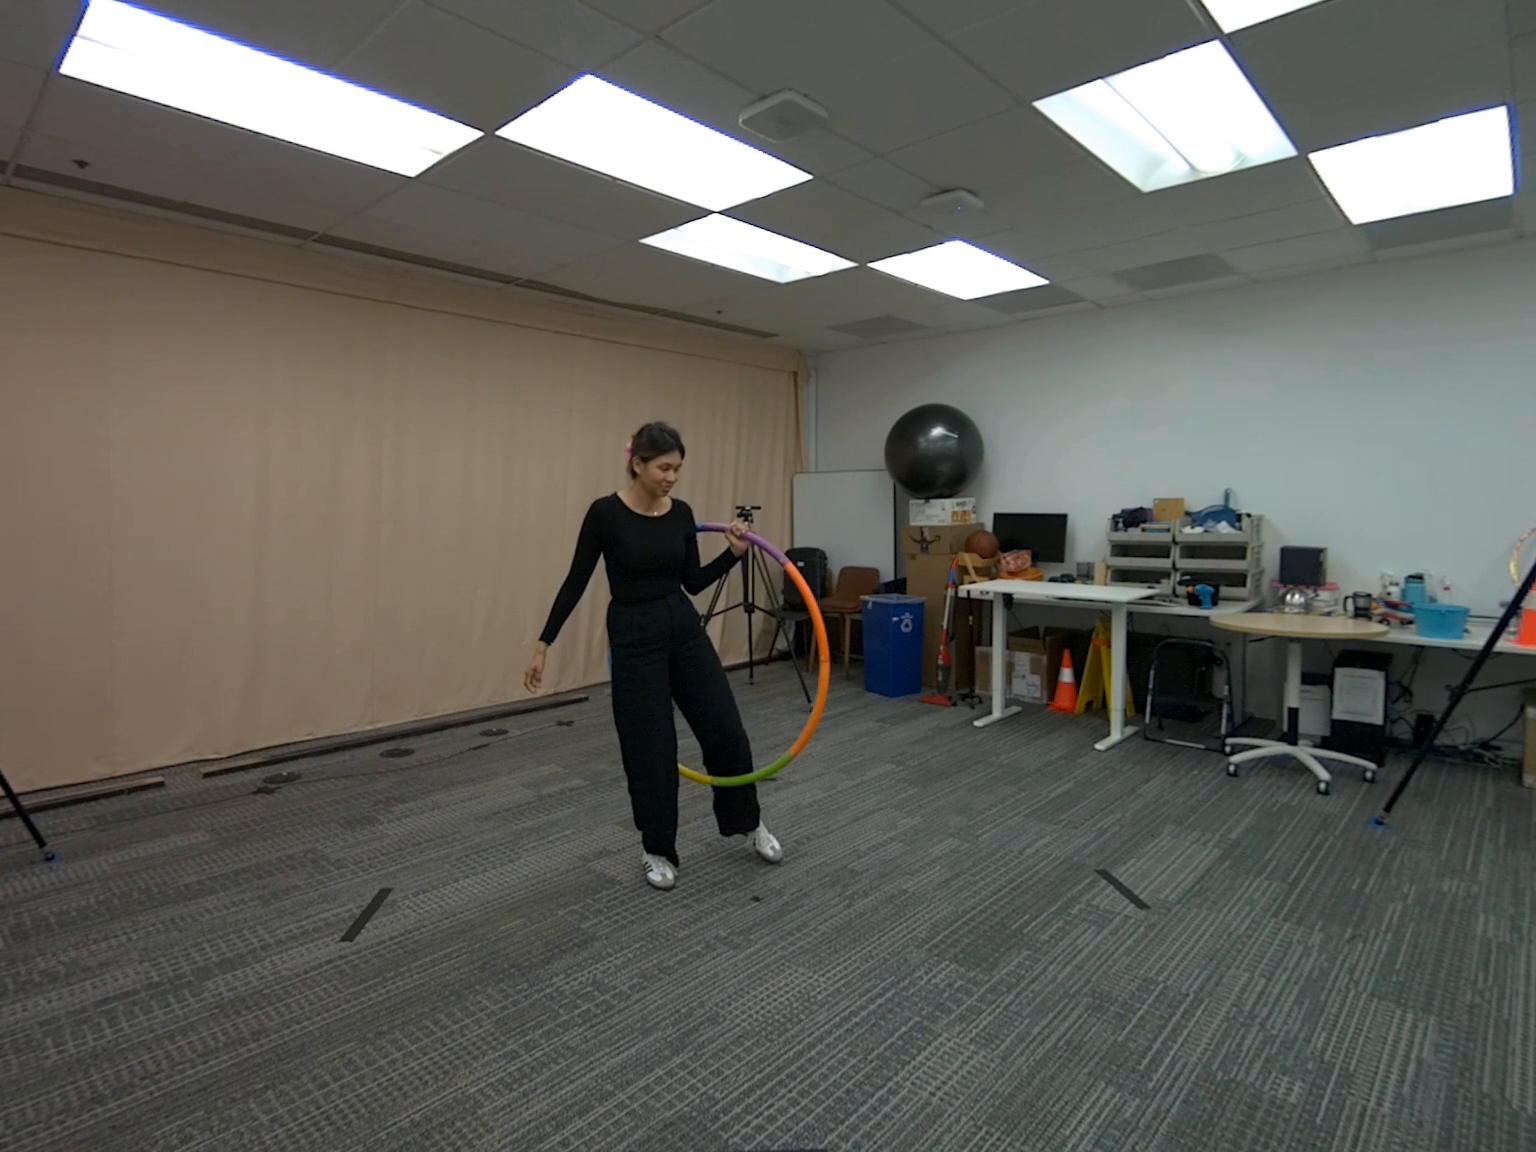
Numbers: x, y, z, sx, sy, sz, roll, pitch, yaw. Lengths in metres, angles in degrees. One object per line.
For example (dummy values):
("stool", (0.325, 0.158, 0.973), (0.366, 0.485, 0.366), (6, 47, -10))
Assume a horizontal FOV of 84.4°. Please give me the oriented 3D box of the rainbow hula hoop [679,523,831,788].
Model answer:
("rainbow hula hoop", (-0.216, 0.292, 3.184), (1.007, 0.977, 0.034), (2, 2, 30))
